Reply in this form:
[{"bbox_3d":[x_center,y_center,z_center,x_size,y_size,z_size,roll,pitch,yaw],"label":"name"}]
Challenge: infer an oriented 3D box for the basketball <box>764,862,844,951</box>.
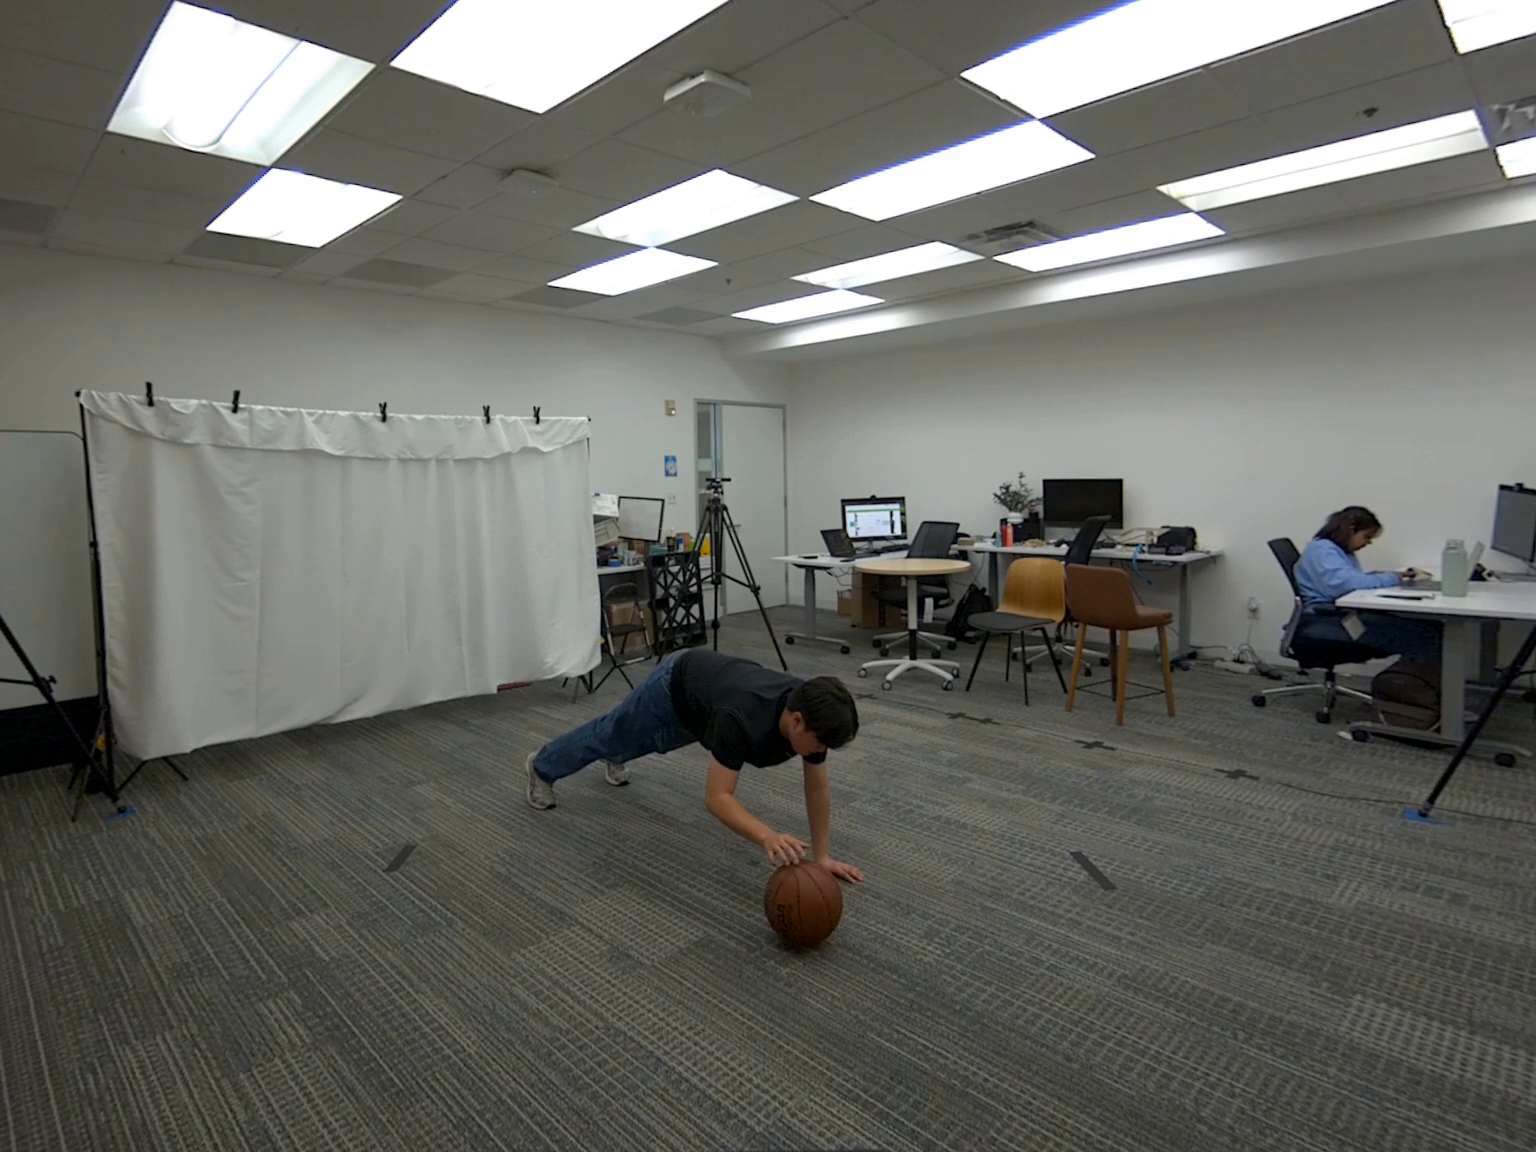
[{"bbox_3d":[0.112,0.975,2.579,0.236,0.235,0.237,-1,5,-2],"label":"basketball"}]
